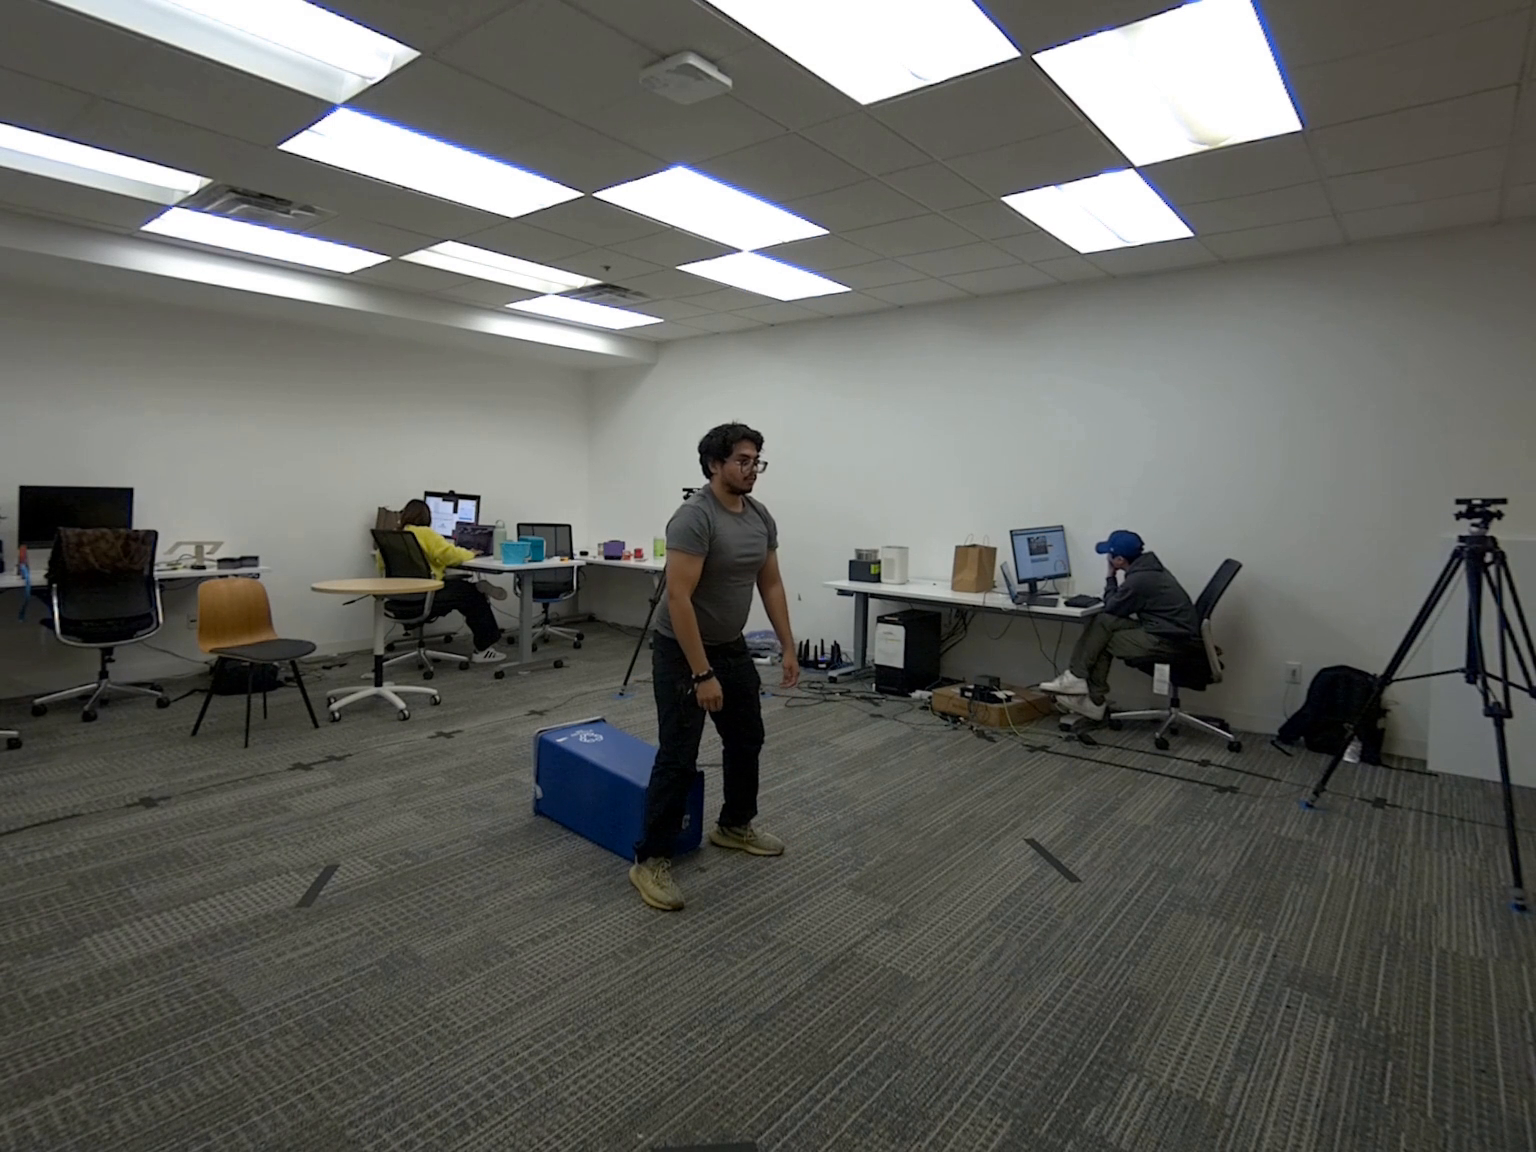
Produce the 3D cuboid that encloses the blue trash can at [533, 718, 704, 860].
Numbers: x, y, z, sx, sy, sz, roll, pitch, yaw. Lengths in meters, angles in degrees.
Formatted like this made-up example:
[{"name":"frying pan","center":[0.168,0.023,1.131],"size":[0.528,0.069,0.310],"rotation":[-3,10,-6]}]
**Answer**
[{"name":"blue trash can","center":[-0.623,0.854,3.455],"size":[0.739,0.372,0.367],"rotation":[8,8,44]}]
